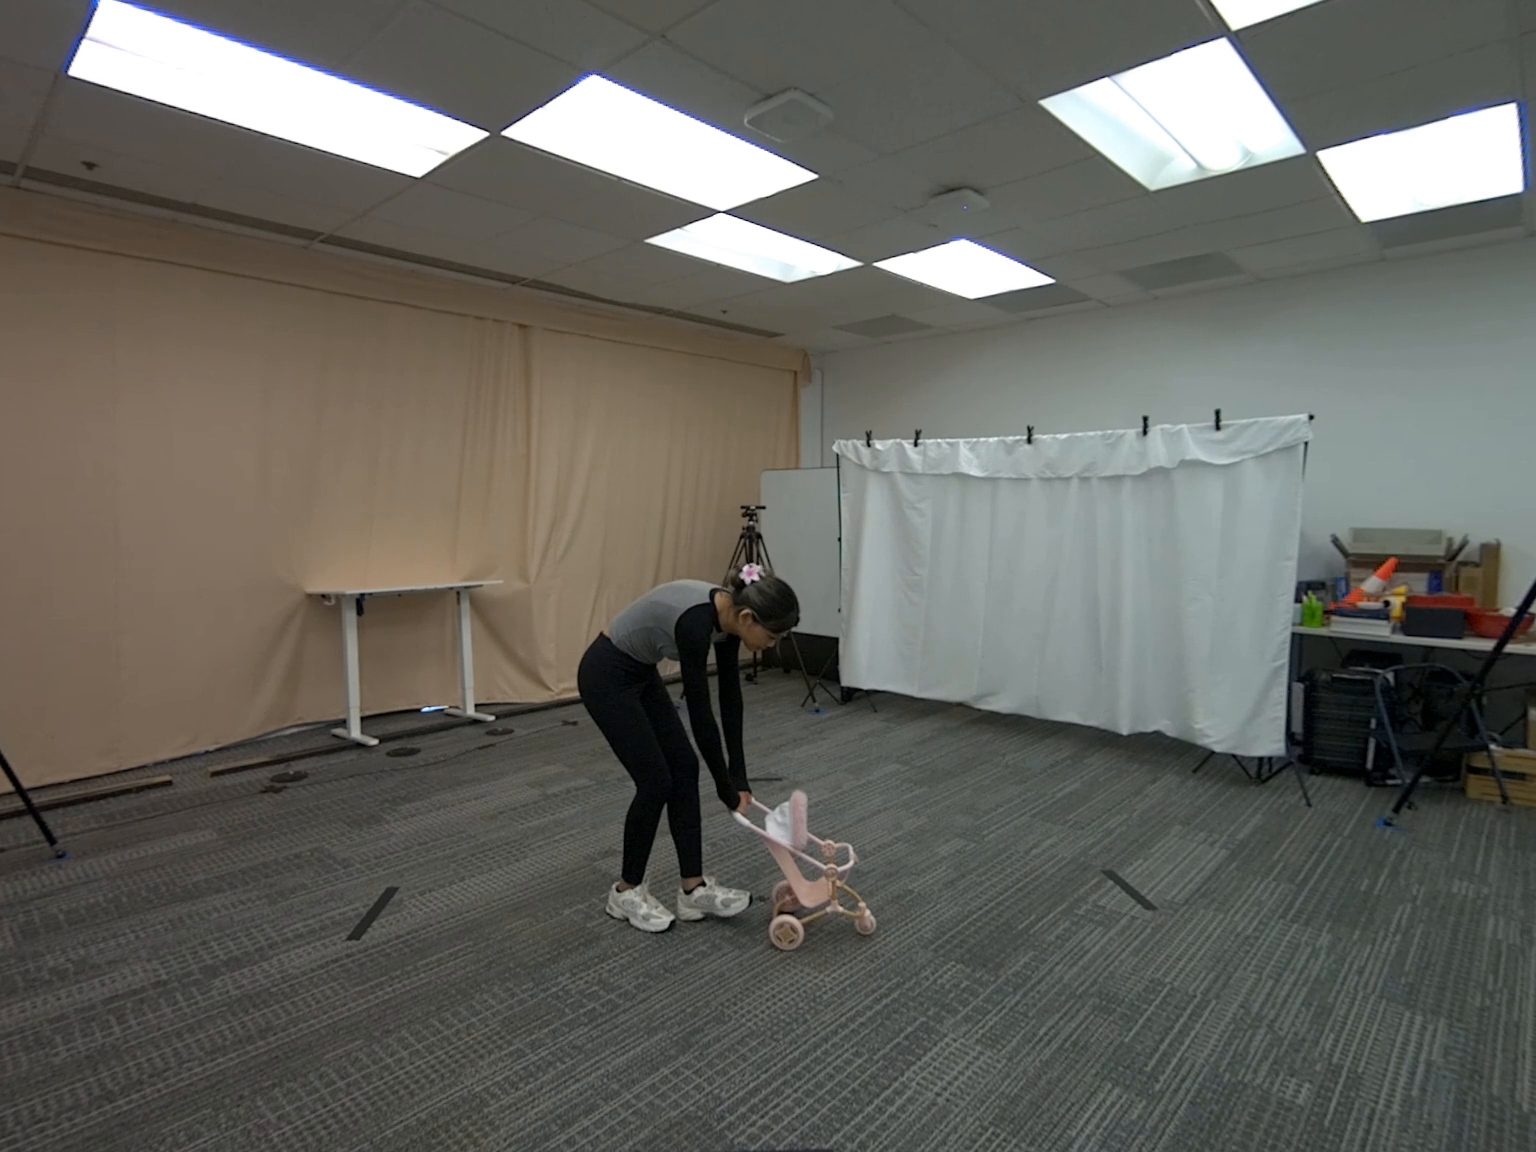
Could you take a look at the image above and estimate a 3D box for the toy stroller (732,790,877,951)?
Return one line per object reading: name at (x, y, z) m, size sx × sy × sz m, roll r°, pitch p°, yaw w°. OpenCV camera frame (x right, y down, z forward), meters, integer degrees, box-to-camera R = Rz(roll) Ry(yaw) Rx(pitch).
toy stroller at (0.131, 0.944, 2.737) m, size 0.344 × 0.534 × 0.279 m, roll -16°, pitch 1°, yaw 9°
